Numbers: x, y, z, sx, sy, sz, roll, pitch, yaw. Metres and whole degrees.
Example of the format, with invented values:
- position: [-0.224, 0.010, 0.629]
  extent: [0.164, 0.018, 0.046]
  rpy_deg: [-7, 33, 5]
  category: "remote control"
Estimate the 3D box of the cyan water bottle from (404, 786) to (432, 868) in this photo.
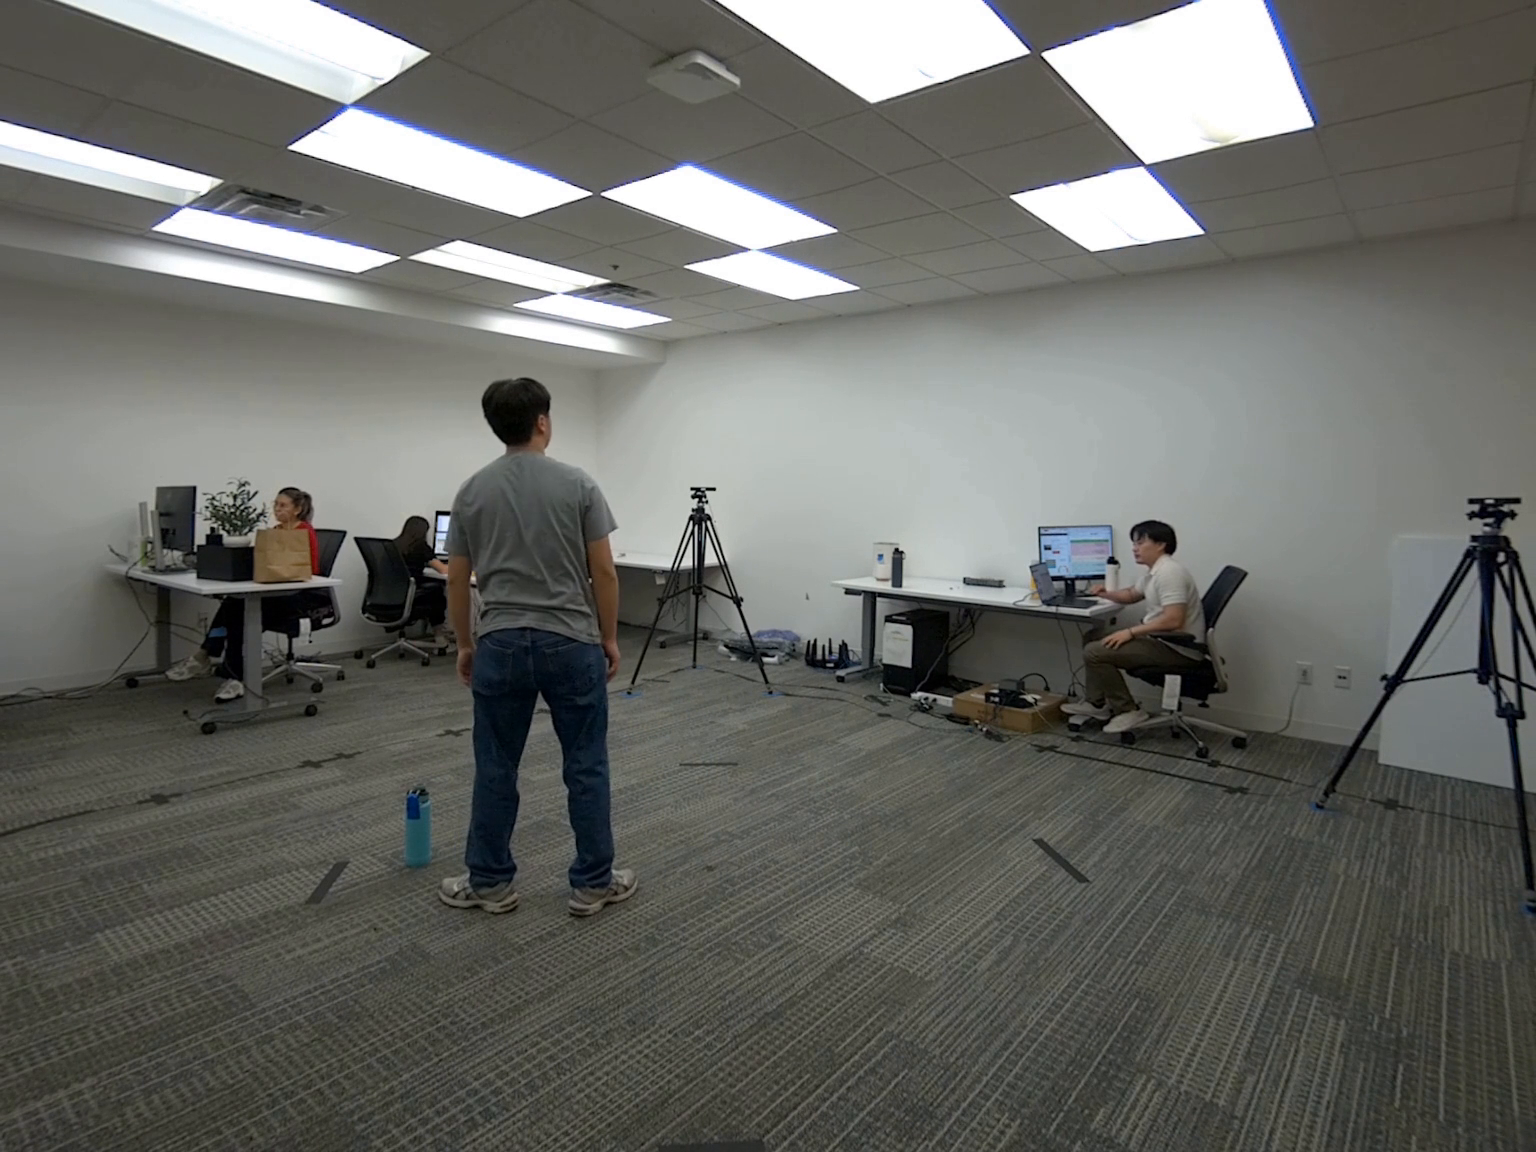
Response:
- position: [-1.294, 0.908, 3.113]
  extent: [0.092, 0.282, 0.093]
  rpy_deg: [2, 4, -2]
  category: "cyan water bottle"
